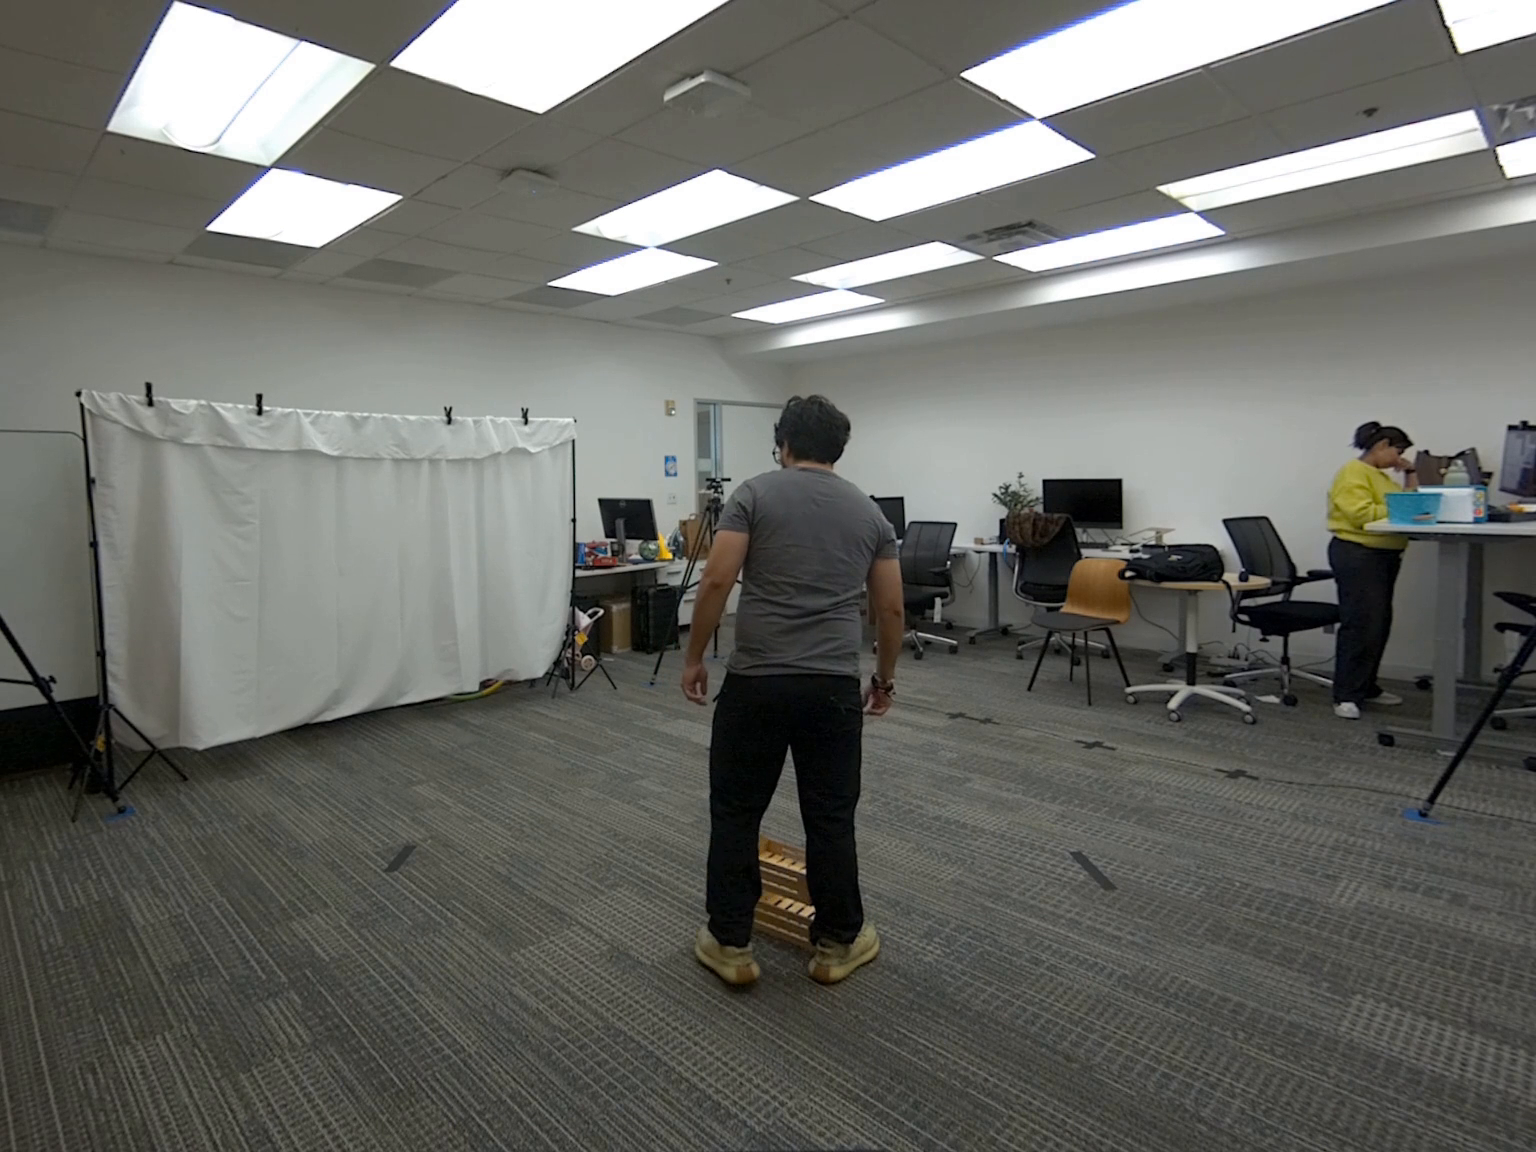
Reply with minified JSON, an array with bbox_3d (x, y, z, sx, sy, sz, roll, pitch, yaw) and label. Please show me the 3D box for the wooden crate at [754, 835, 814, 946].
[{"bbox_3d":[0.097,0.960,2.665,0.334,0.272,0.295,3,8,36],"label":"wooden crate"}]
